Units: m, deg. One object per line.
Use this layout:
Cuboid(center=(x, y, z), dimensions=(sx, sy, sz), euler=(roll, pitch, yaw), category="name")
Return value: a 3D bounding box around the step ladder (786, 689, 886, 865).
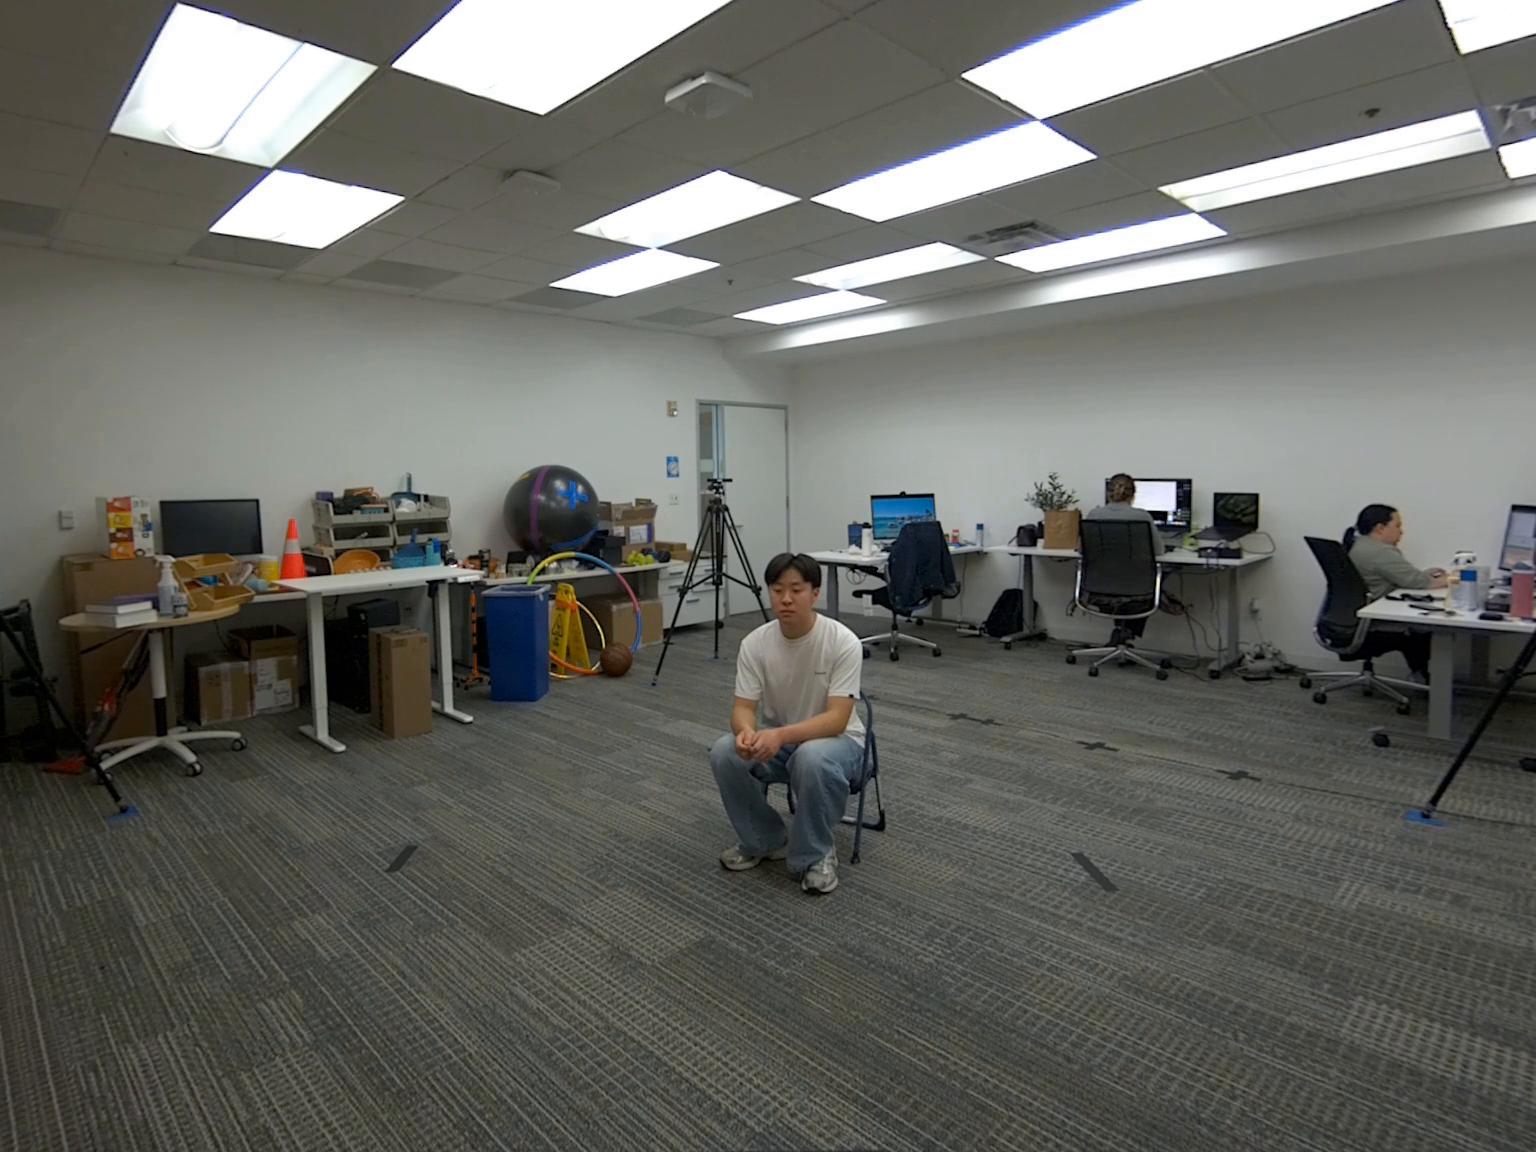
Cuboid(center=(0.214, 0.717, 3.326), dimensions=(0.442, 0.604, 0.342), euler=(2, 5, 28), category="step ladder")
